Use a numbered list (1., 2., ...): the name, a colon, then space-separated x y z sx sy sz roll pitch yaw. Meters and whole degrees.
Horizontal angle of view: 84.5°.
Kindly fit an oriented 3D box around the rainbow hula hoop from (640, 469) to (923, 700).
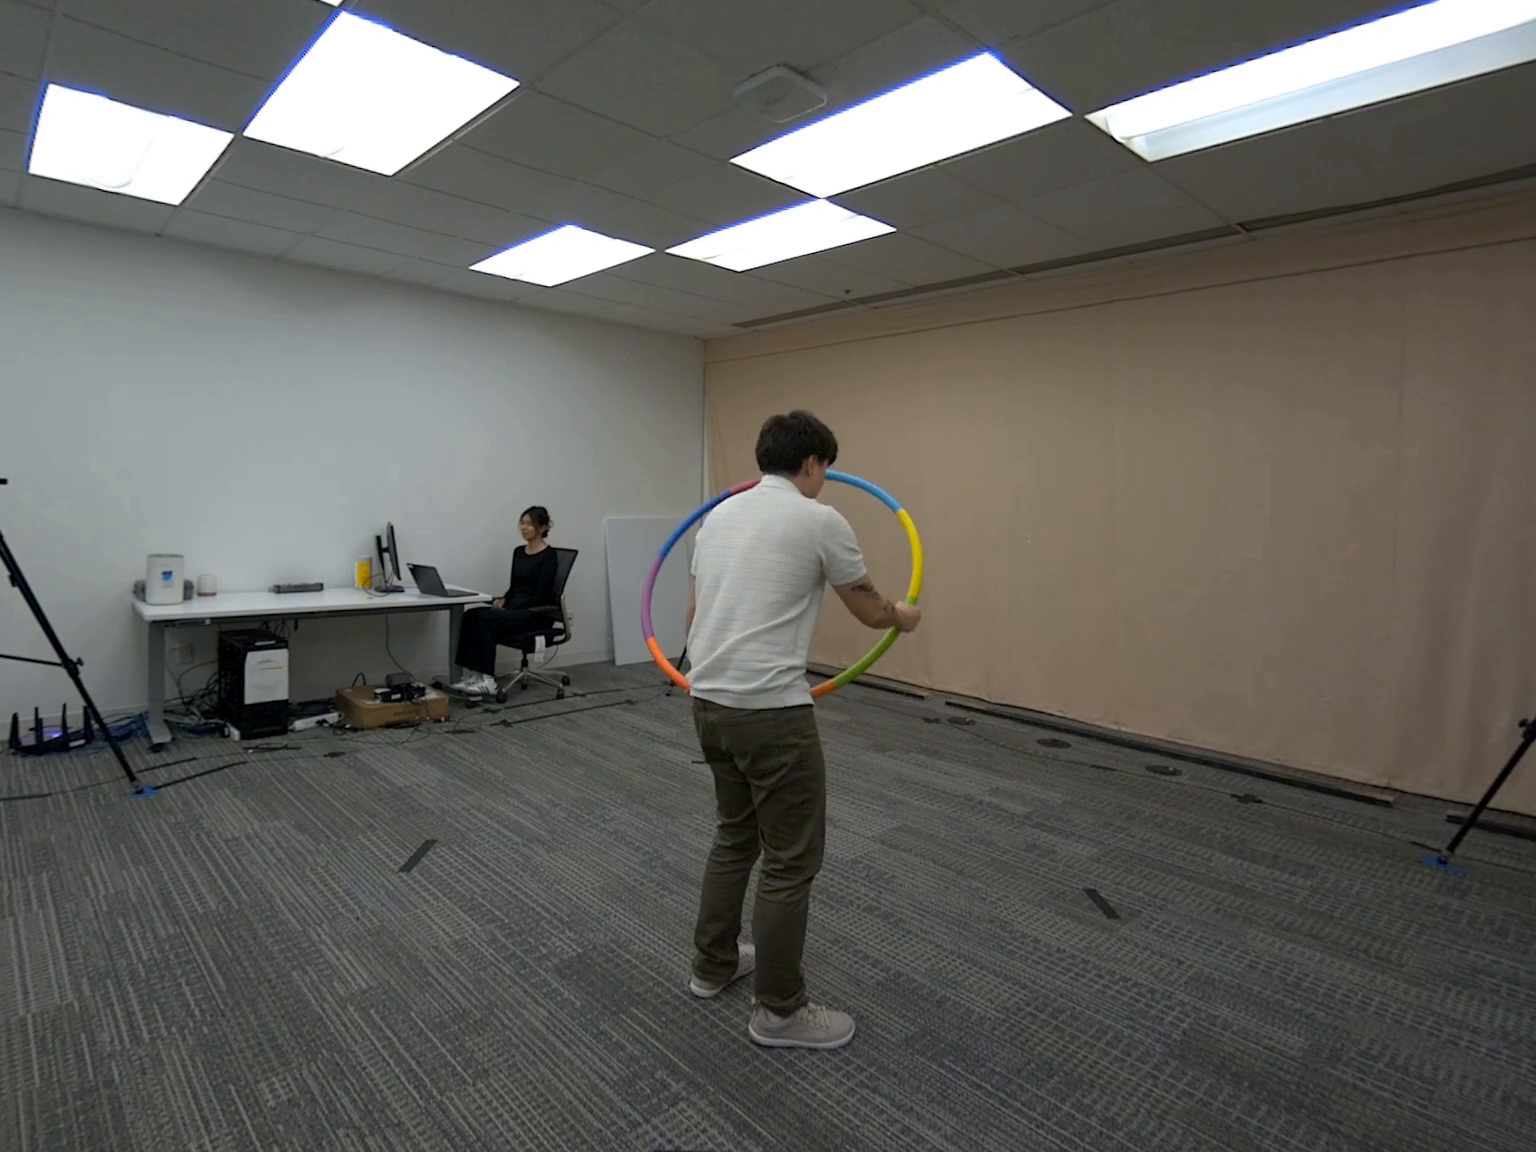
1. rainbow hula hoop: 0.031 0.022 2.832 0.998 0.989 0.034 3 -36 25
